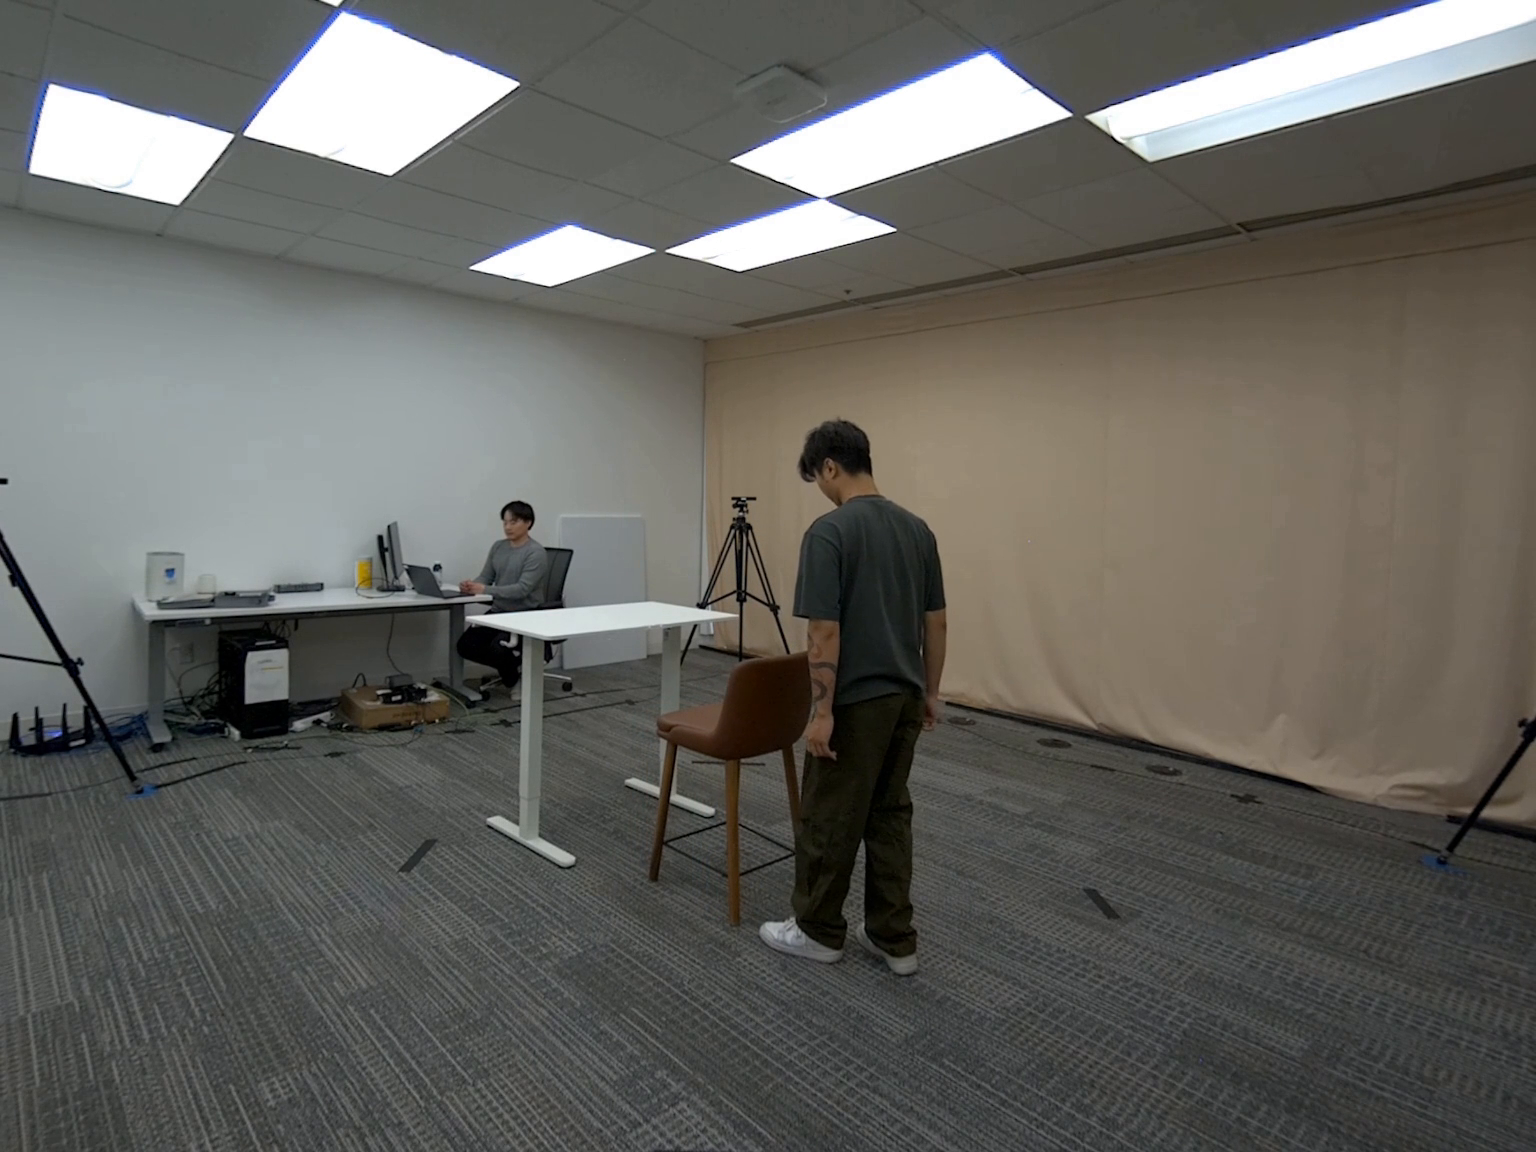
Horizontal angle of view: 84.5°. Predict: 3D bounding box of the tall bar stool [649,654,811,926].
[{"bbox_3d":[-0.122,0.681,2.991,0.446,0.887,0.480,-2,7,-43],"label":"tall bar stool"}]
